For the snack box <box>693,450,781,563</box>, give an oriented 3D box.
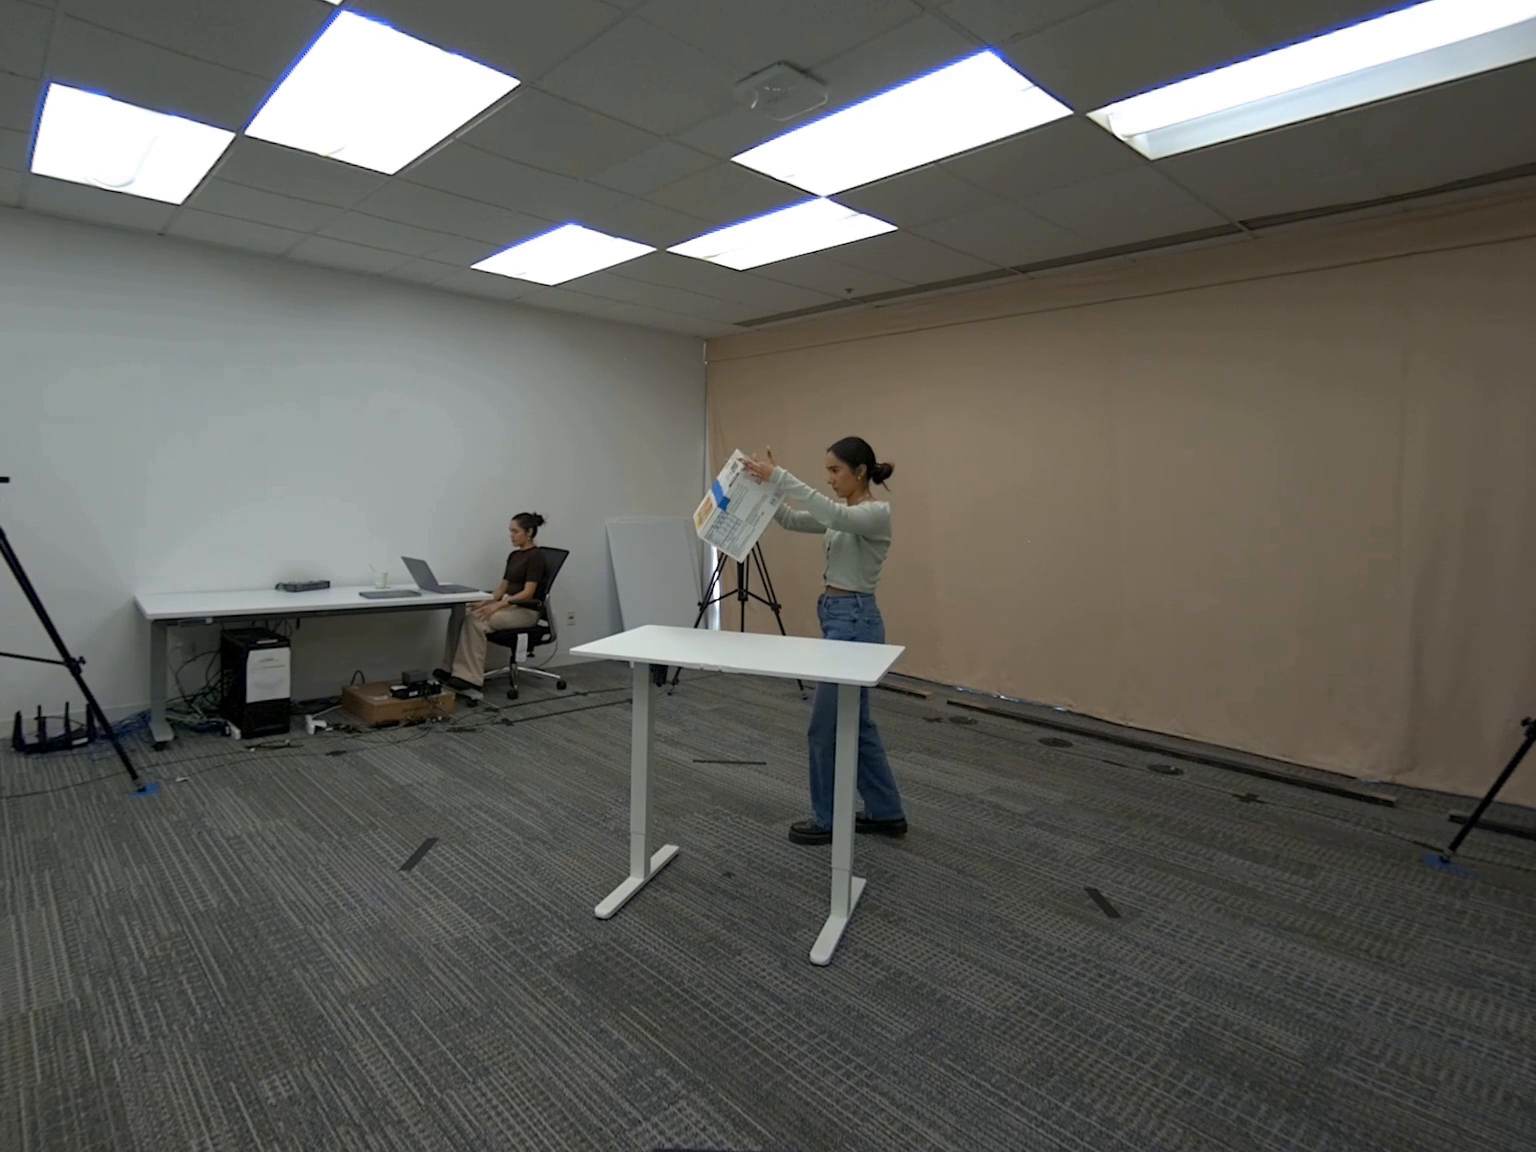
[{"bbox_3d":[-0.120,-0.291,3.376,0.203,0.340,0.411,31,10,-13],"label":"snack box"}]
